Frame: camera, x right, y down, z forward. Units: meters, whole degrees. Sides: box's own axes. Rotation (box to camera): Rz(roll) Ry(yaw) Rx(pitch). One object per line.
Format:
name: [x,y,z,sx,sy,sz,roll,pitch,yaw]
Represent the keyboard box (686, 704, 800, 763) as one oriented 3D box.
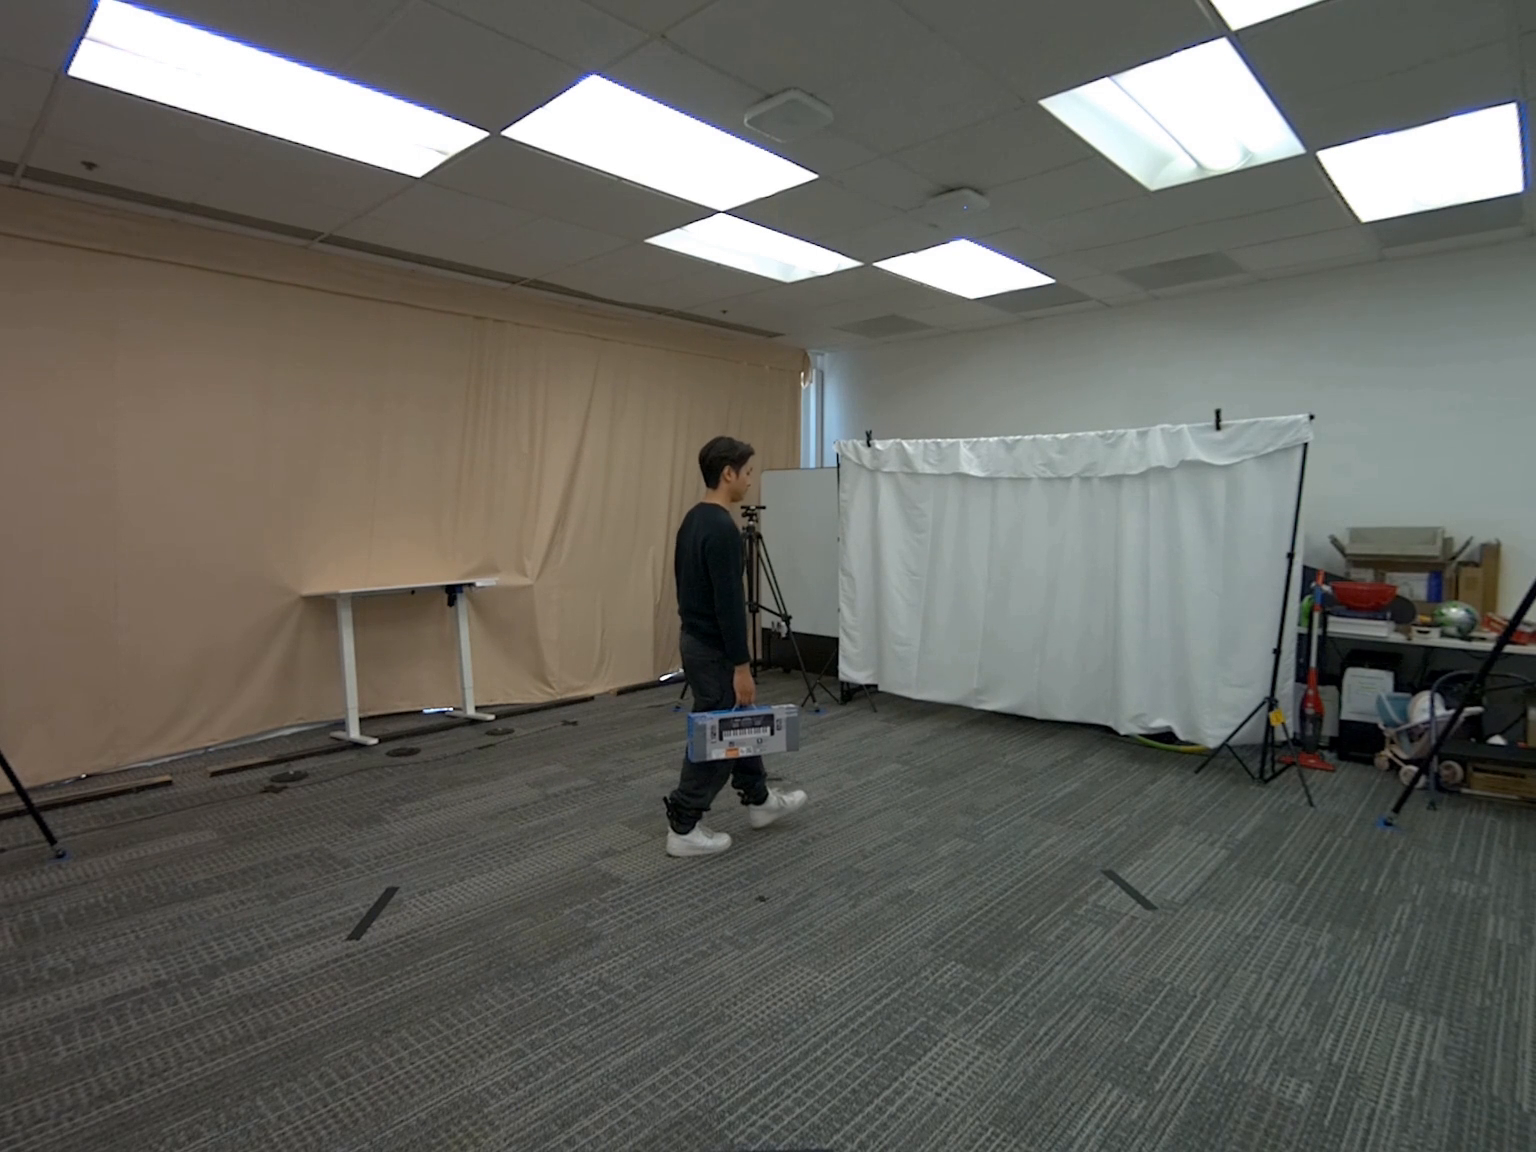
keyboard box: [-0.089,0.595,3.212,0.428,0.176,0.060,-3,2,-19]
